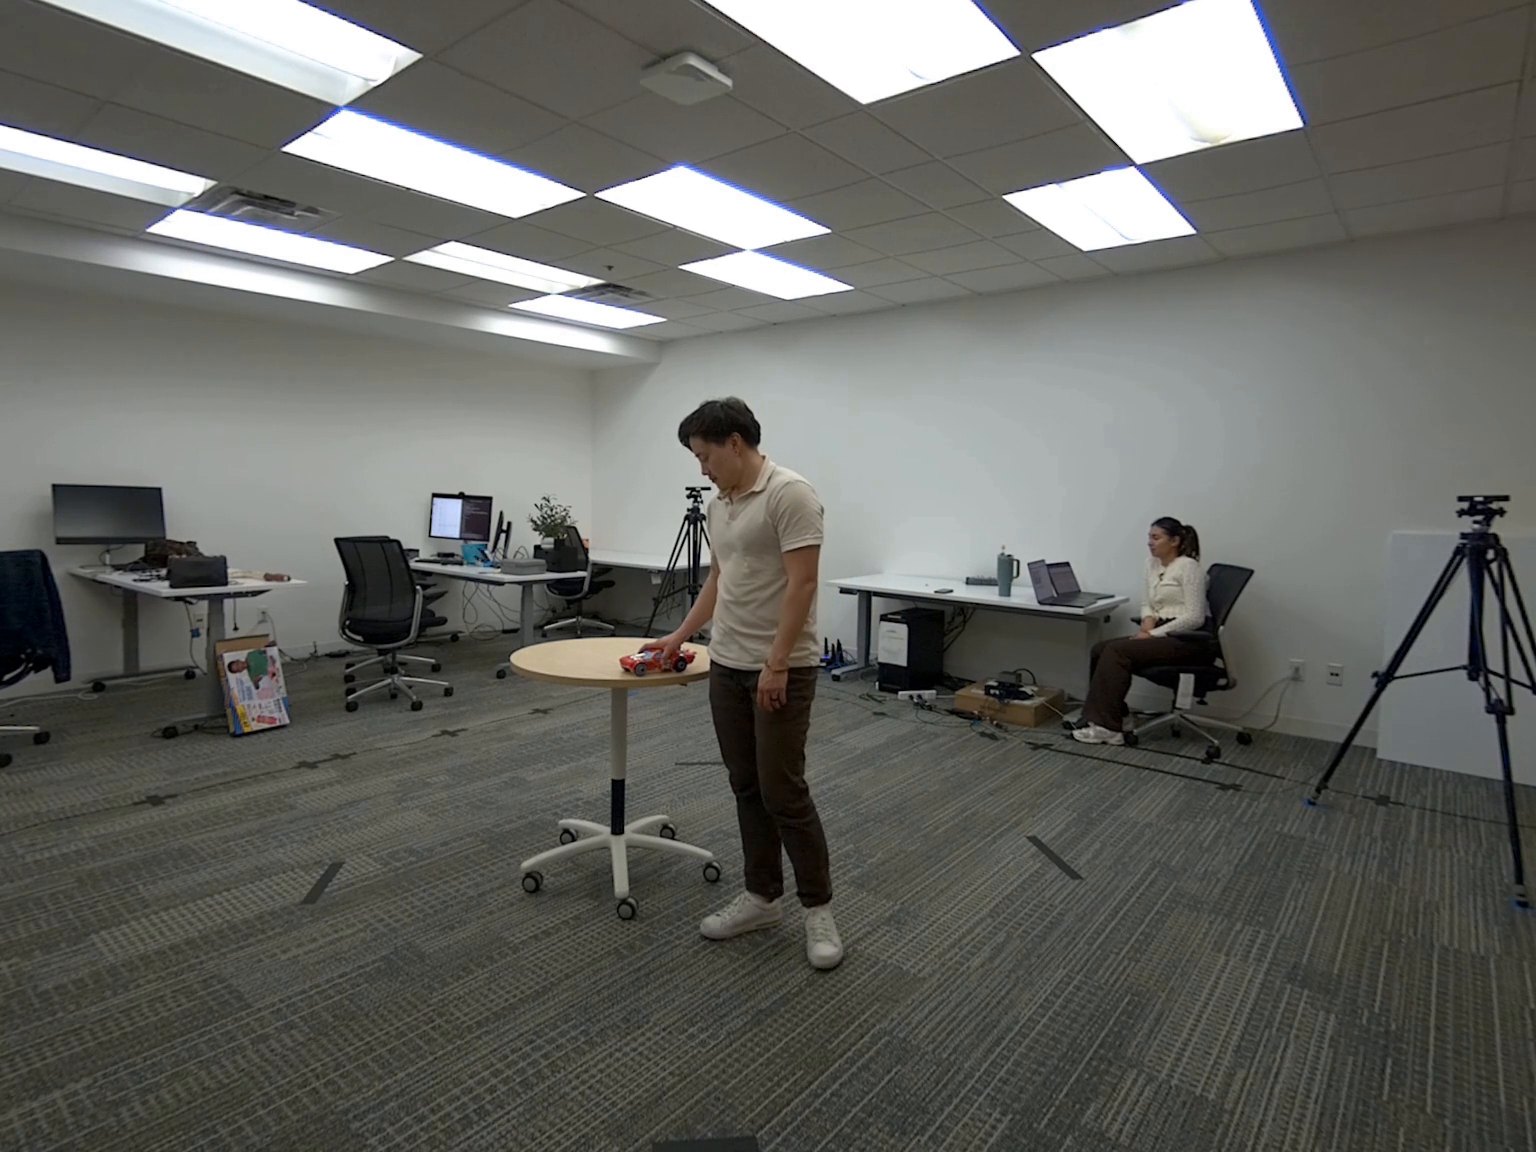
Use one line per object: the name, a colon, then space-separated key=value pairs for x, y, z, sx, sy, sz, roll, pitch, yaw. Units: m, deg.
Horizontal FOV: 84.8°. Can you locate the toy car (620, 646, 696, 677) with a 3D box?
toy car: x=-0.366 y=0.278 z=2.805 sx=0.249 sy=0.082 sz=0.134 roll=-14 pitch=11 yaw=-32
